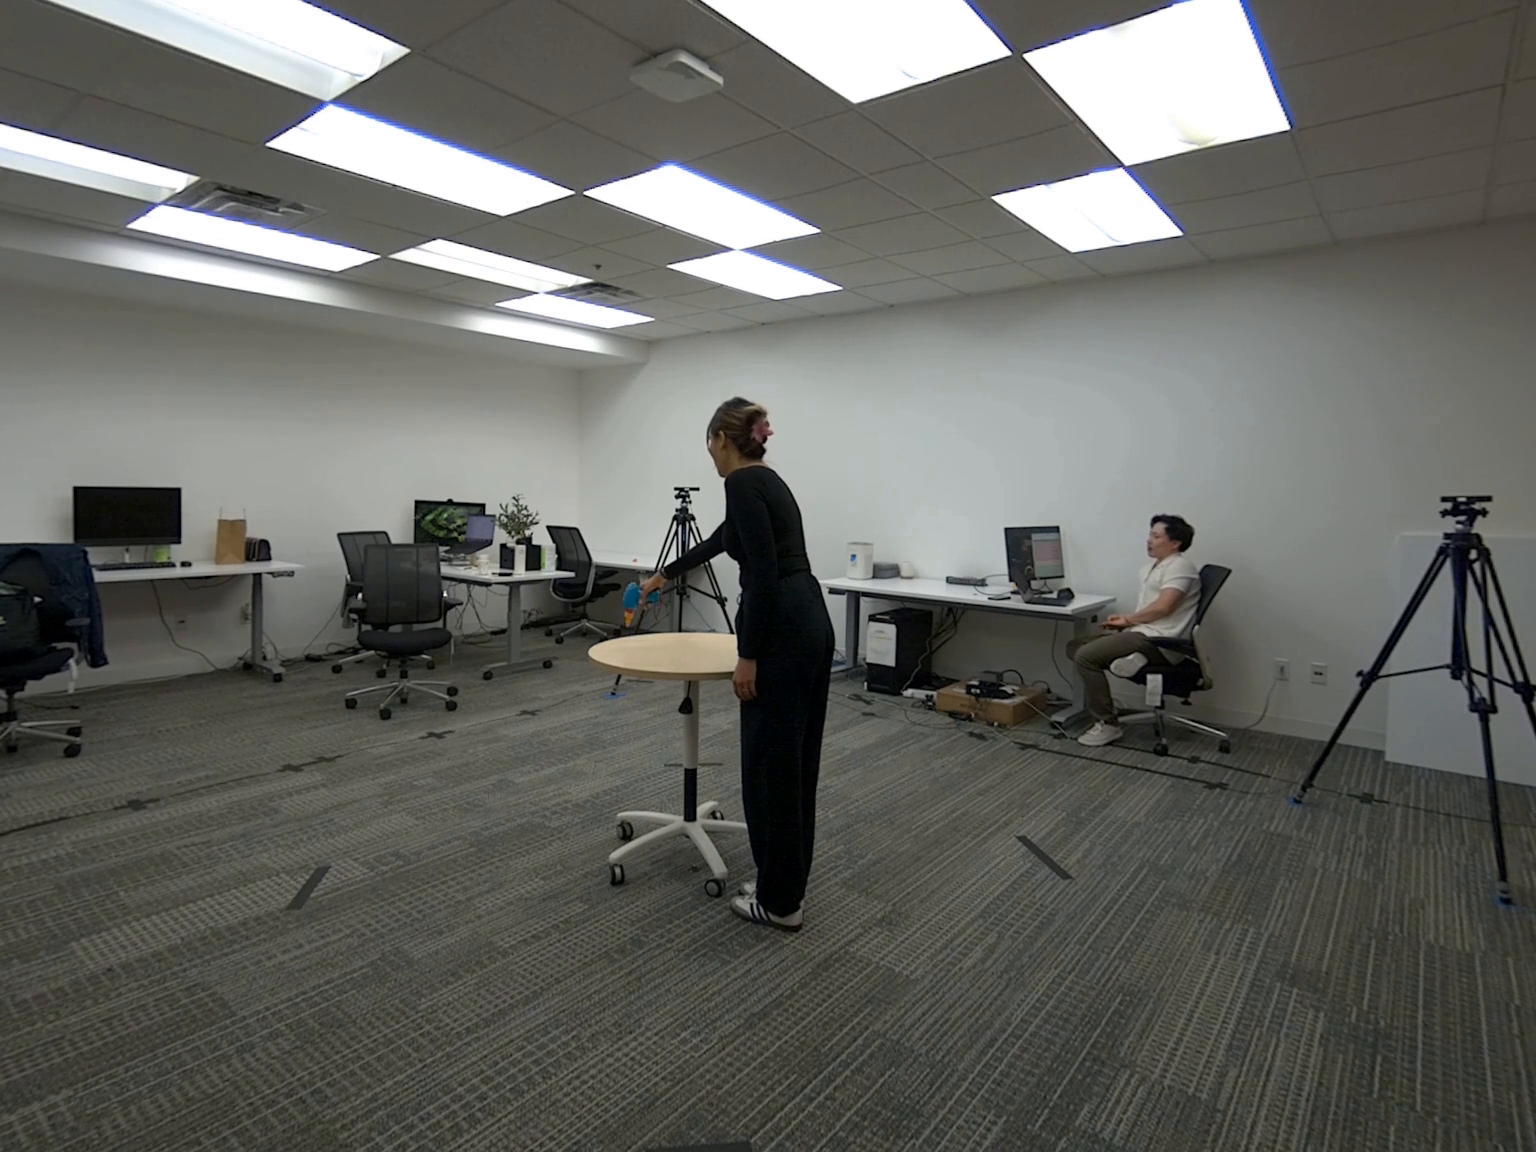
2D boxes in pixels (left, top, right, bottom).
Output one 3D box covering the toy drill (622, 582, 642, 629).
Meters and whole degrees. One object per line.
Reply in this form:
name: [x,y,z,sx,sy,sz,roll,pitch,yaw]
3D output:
toy drill: [-0.499,0.120,3.285,0.145,0.170,0.061,8,-3,-5]
